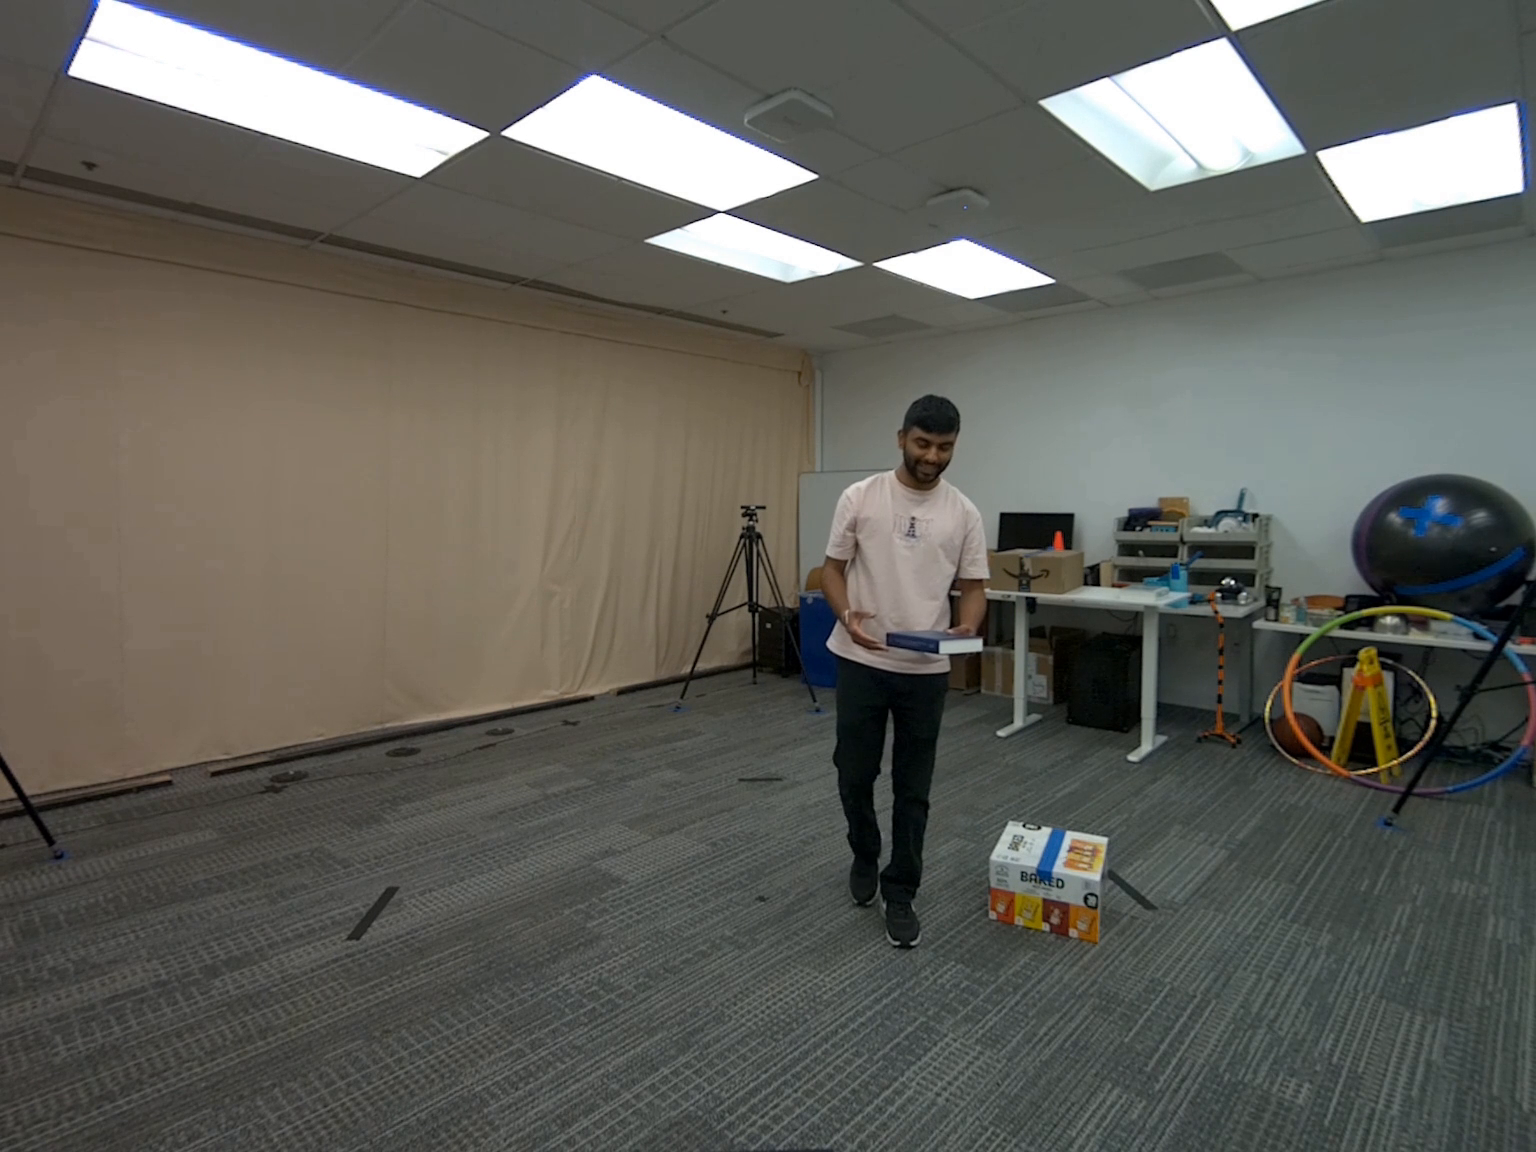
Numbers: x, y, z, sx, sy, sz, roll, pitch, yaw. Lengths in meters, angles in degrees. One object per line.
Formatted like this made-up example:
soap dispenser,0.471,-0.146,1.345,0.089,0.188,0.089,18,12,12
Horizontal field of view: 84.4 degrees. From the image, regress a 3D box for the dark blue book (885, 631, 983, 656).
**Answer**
dark blue book,0.468,0.194,2.436,0.159,0.045,0.251,0,0,-28
